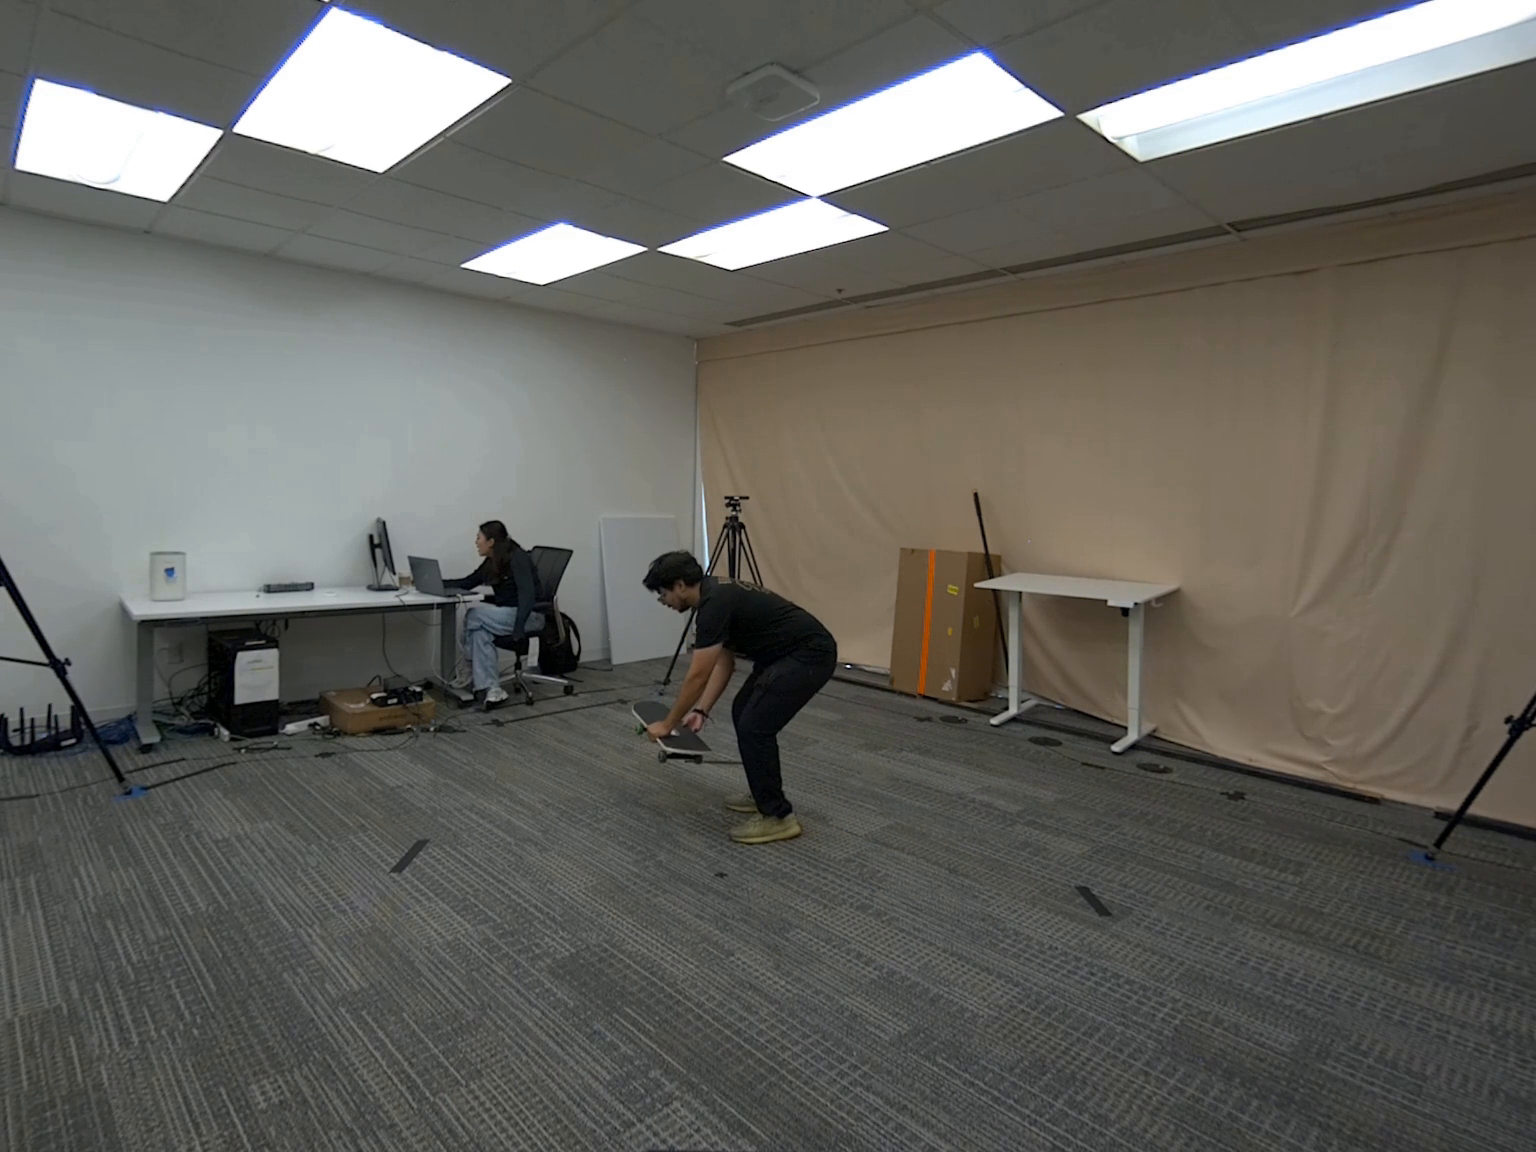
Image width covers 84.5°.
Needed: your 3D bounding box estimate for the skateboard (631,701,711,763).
[{"bbox_3d":[-0.436,0.681,3.611,0.190,0.110,0.800,5,5,-21],"label":"skateboard"}]
